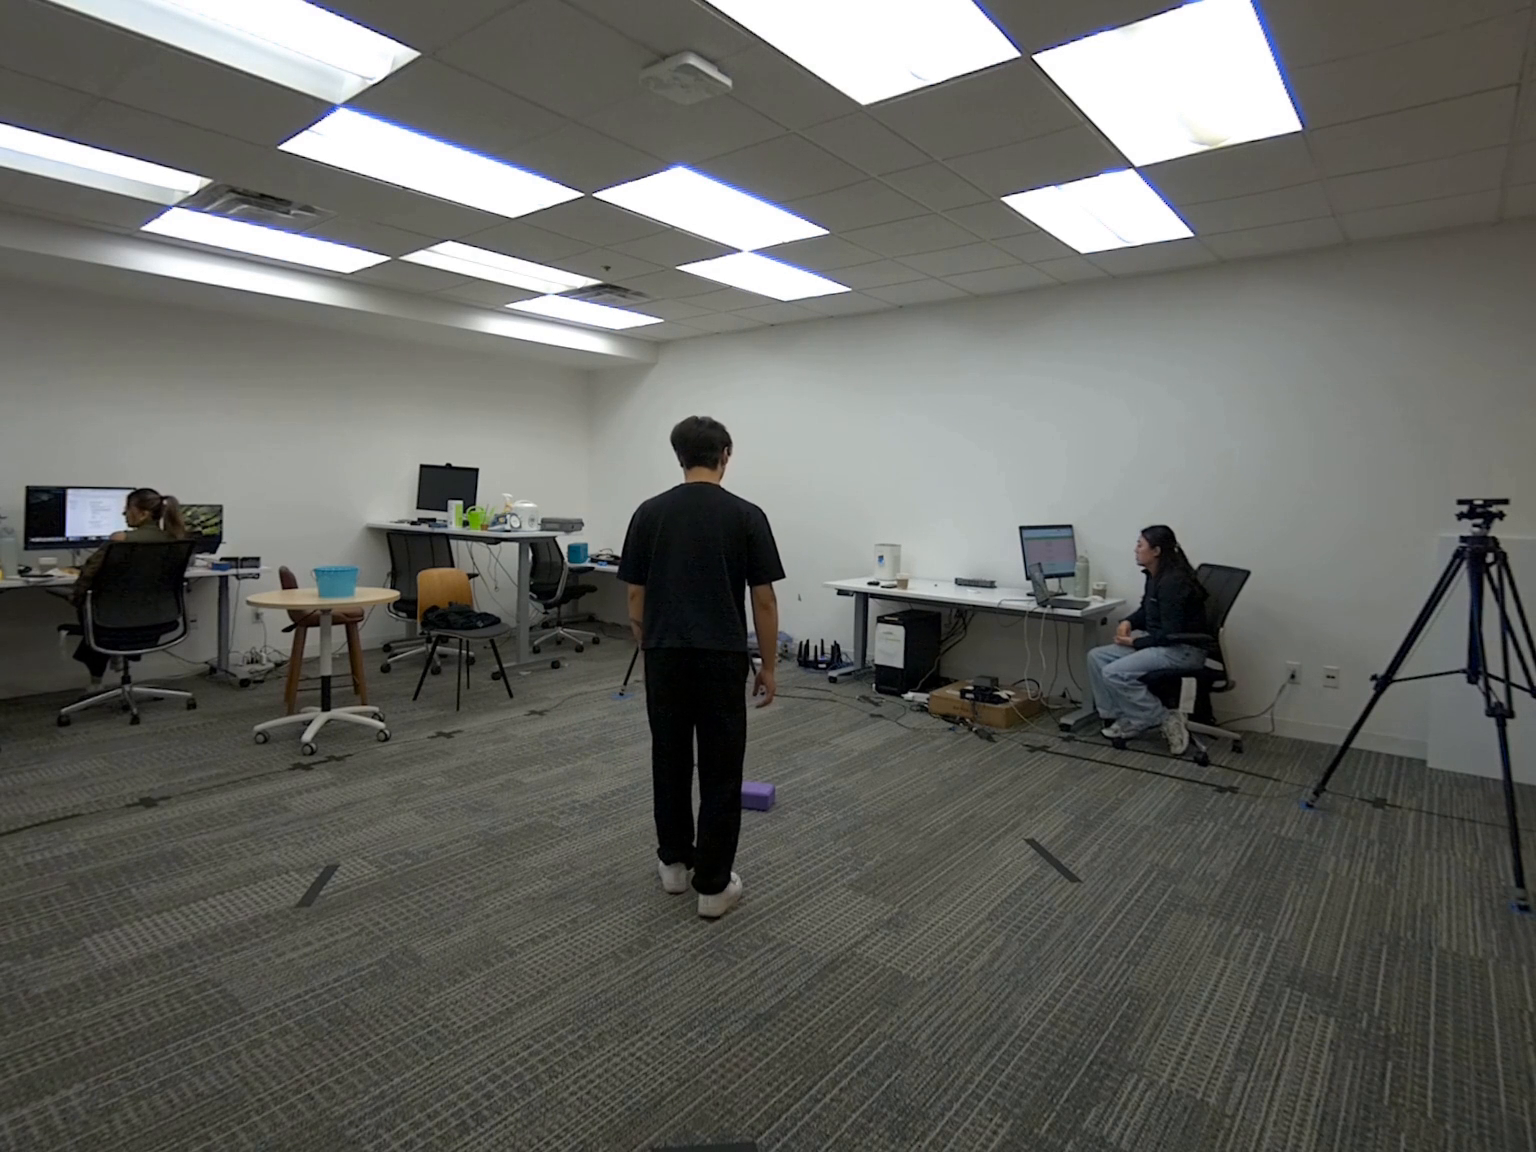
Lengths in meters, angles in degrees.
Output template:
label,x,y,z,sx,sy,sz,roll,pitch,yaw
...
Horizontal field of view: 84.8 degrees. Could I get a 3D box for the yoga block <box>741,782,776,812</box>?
label,x,y,z,sx,sy,sz,roll,pitch,yaw
yoga block,-0.105,0.967,3.778,0.233,0.076,0.147,3,5,15
